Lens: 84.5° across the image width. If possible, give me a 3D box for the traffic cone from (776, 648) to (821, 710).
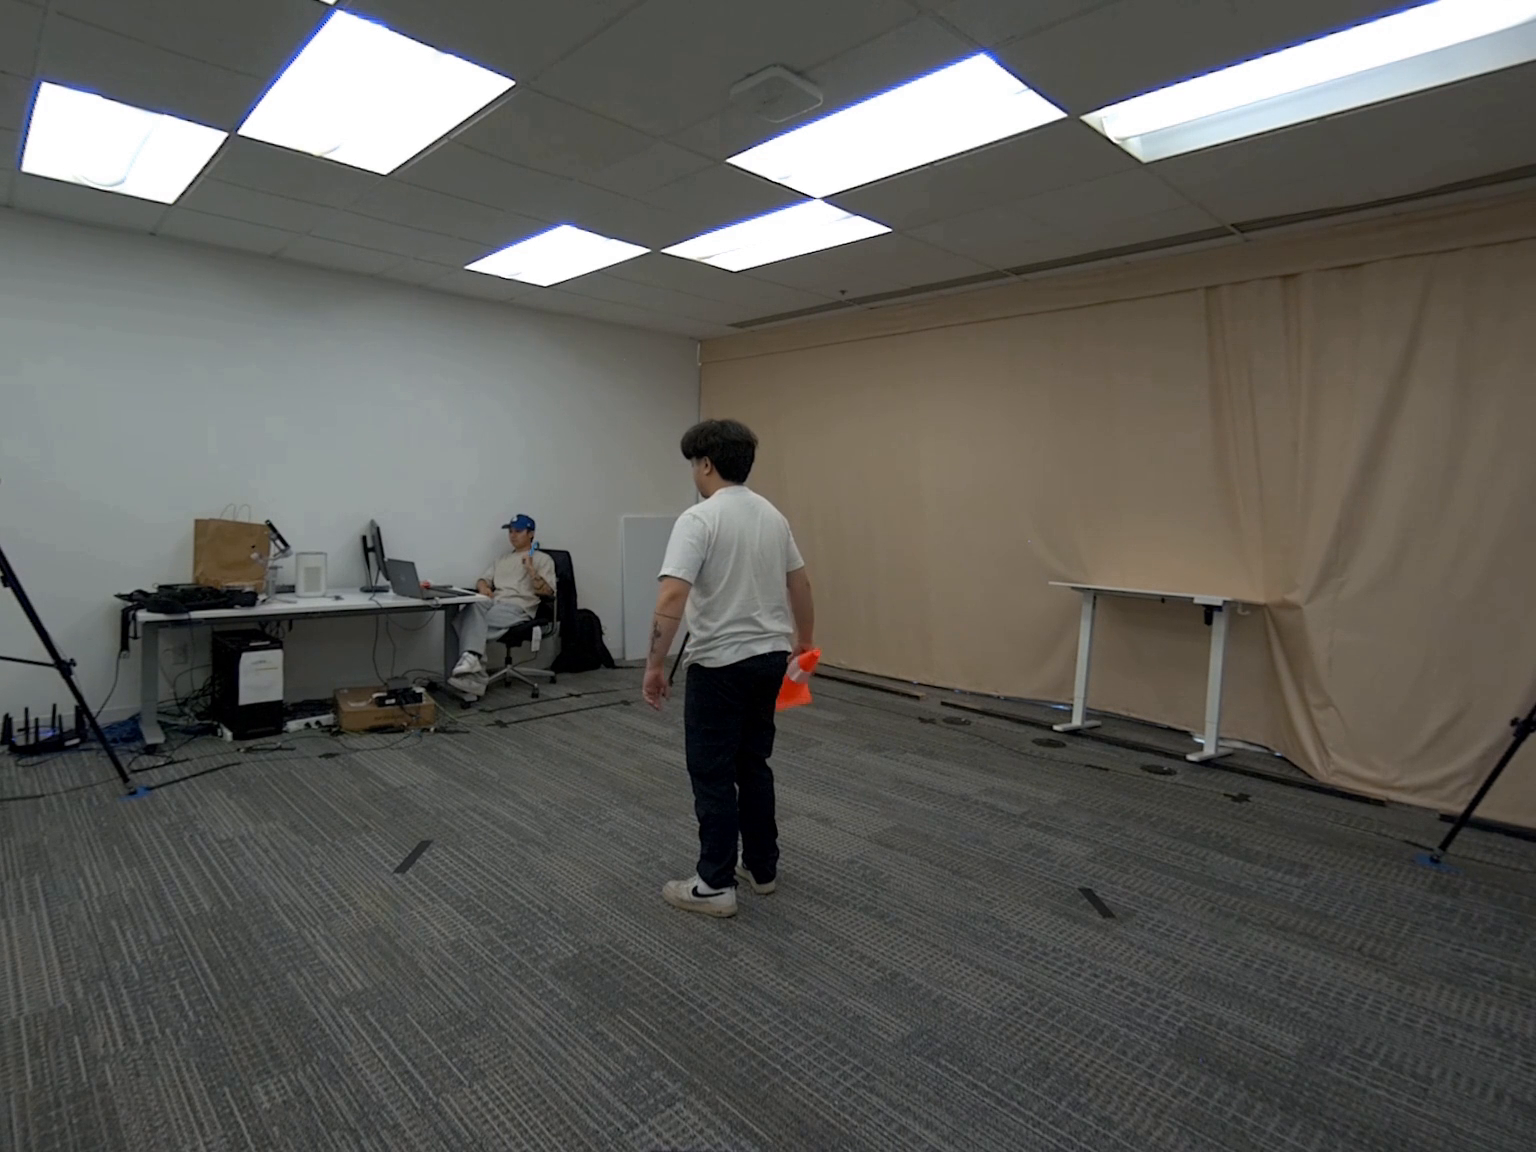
[{"bbox_3d":[0.109,0.360,3.228,0.201,0.209,0.382,-7,-21,-20],"label":"traffic cone"}]
